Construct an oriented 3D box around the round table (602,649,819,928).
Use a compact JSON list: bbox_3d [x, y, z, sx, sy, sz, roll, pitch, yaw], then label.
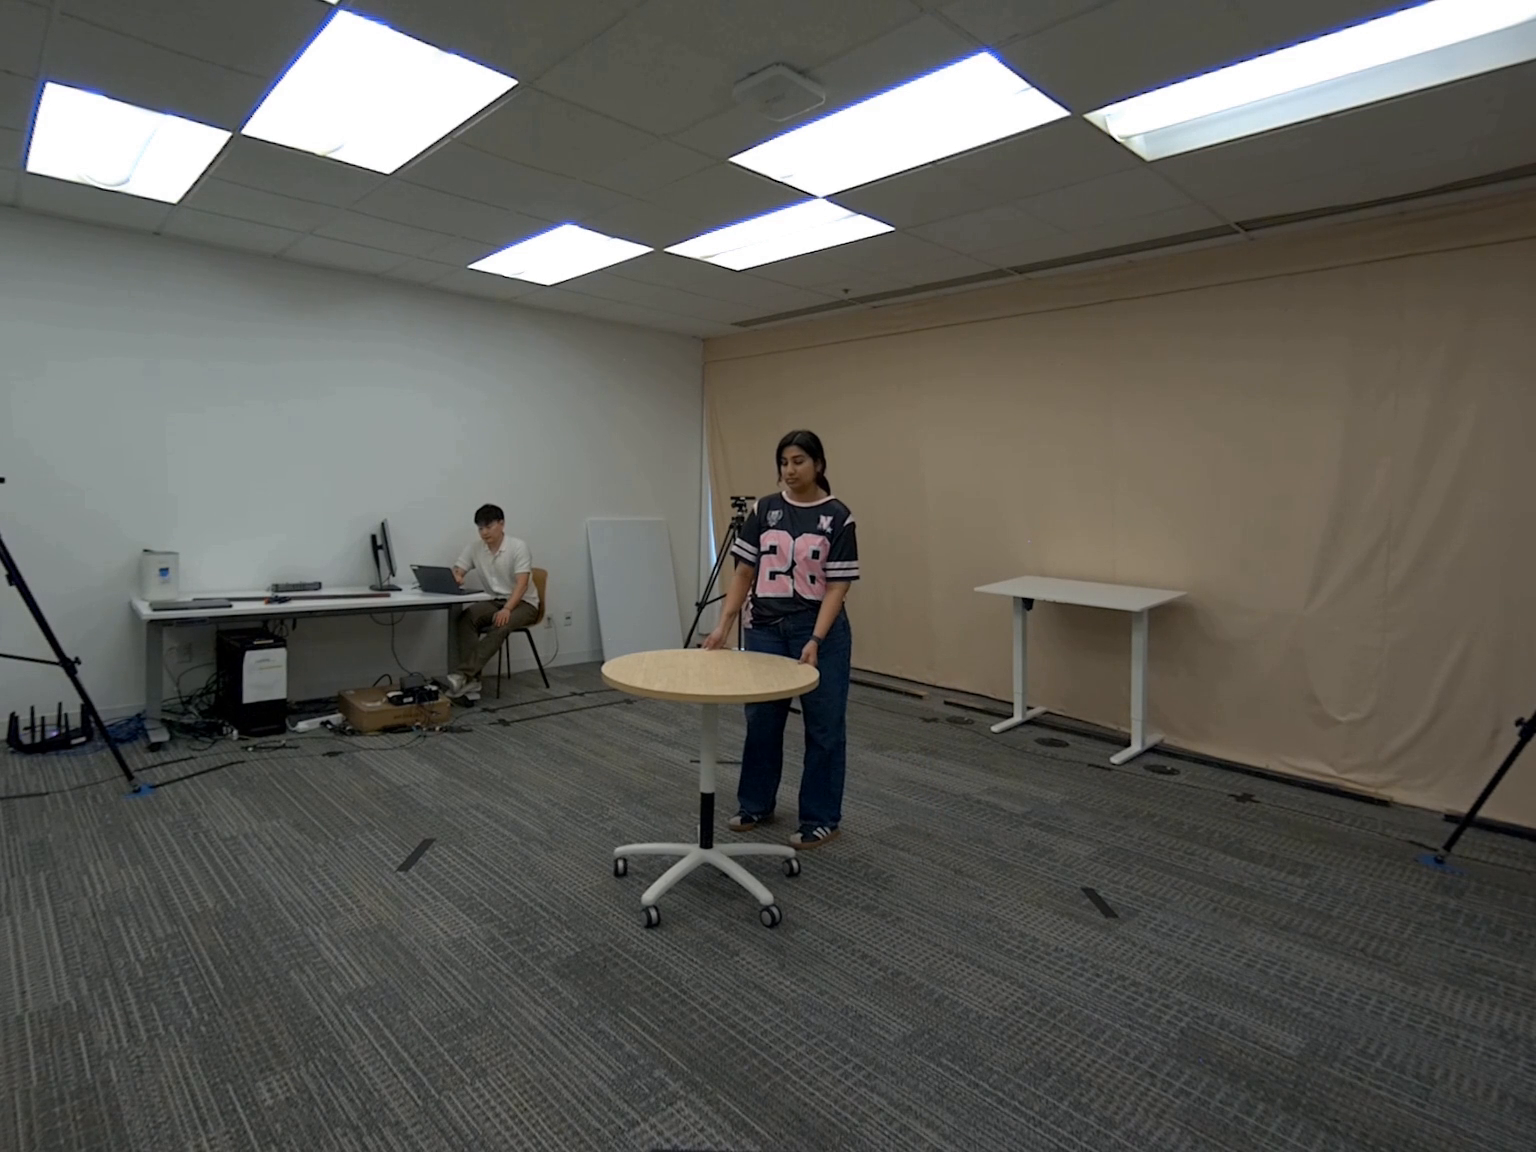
[{"bbox_3d":[-0.222,0.724,2.996,0.763,0.792,0.767,1,4,-1],"label":"round table"}]
